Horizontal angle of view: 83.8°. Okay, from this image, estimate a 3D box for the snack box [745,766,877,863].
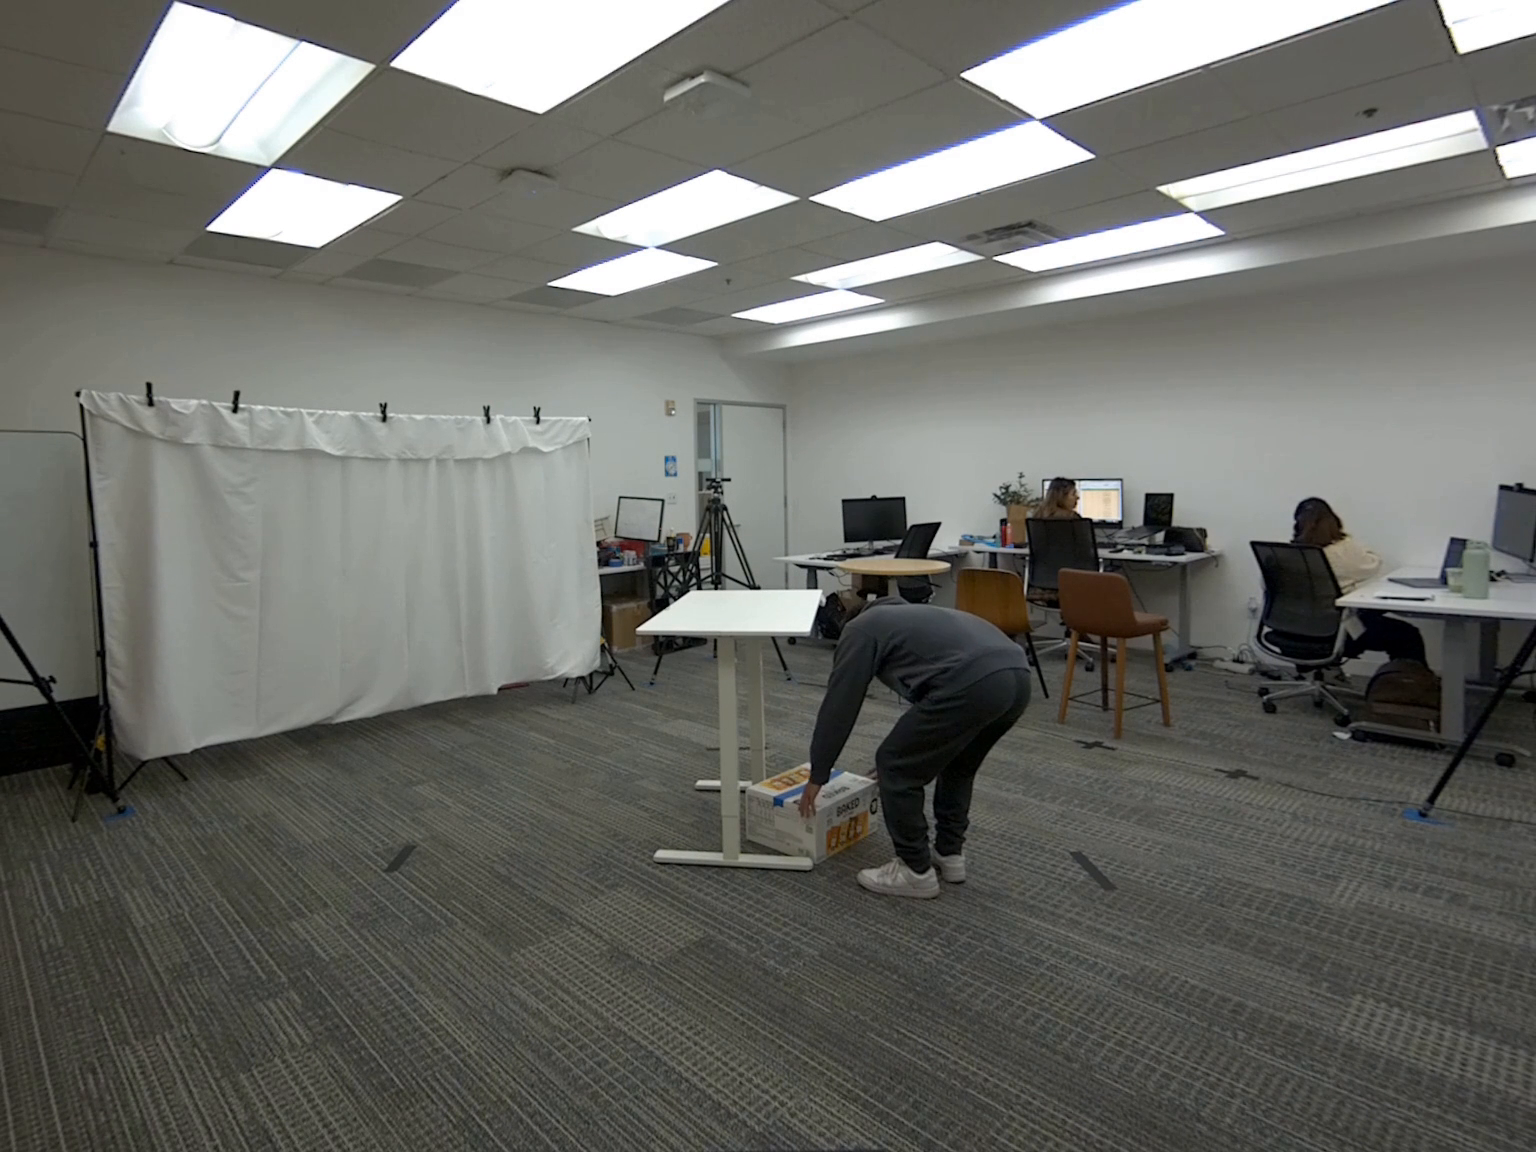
[{"bbox_3d":[0.176,0.912,3.325,0.351,0.205,0.395,4,7,41],"label":"snack box"}]
